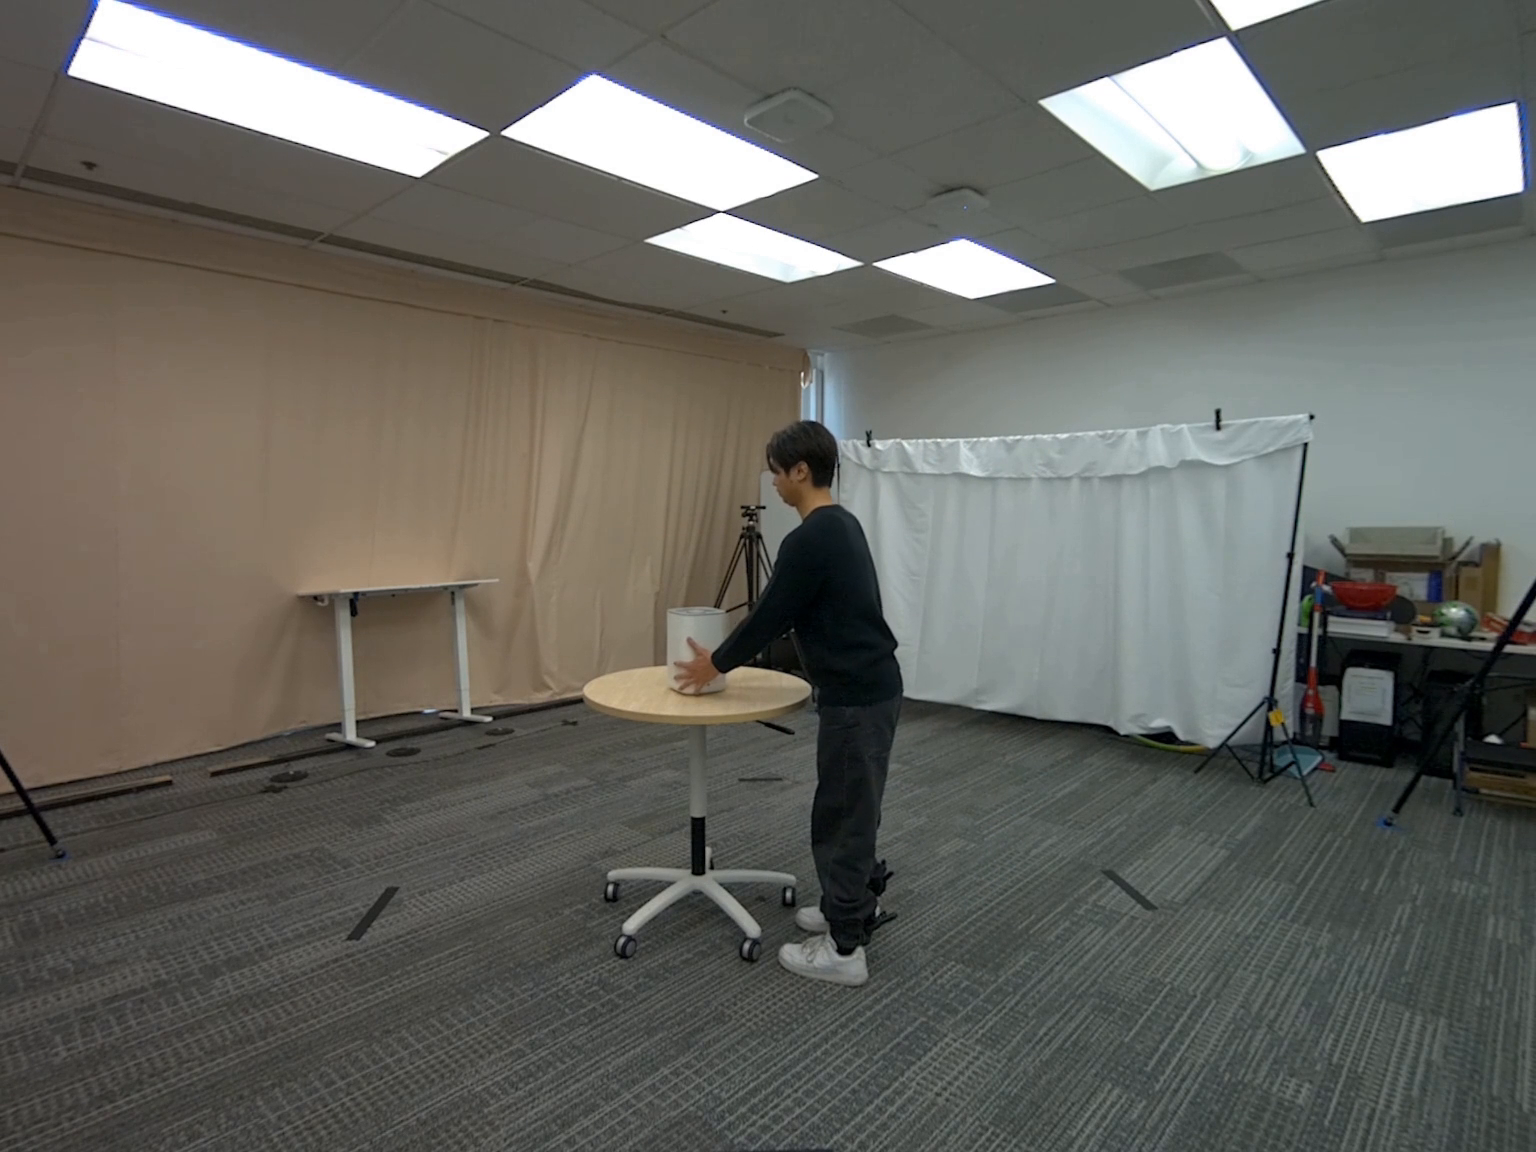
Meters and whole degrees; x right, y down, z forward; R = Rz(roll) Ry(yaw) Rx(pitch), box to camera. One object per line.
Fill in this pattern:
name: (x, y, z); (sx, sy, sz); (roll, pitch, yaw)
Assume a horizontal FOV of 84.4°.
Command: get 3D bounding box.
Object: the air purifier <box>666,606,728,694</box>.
air purifier: (-0.234, 0.245, 2.785); (0.166, 0.265, 0.177); (-1, 4, -32)
